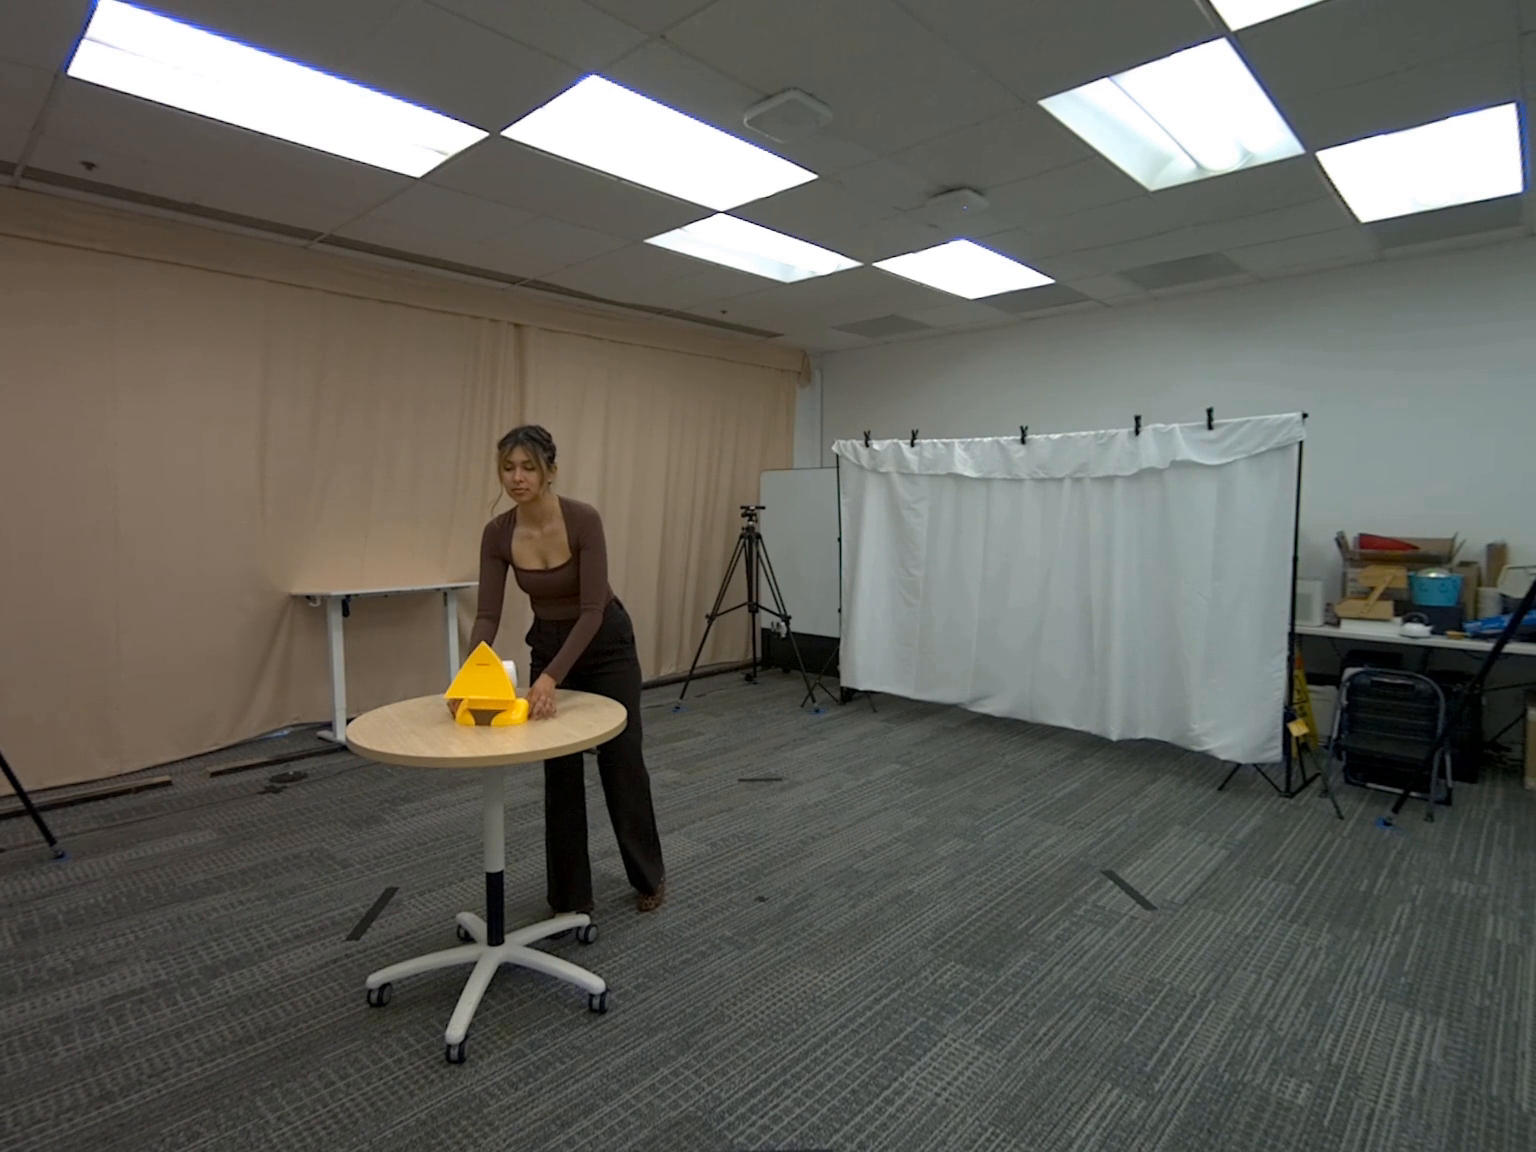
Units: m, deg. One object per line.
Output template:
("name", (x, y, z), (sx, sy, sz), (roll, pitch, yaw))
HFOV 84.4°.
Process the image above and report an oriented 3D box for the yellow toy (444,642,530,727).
("yellow toy", (-0.775, 0.288, 2.363), (0.206, 0.230, 0.192), (0, 4, 5))
